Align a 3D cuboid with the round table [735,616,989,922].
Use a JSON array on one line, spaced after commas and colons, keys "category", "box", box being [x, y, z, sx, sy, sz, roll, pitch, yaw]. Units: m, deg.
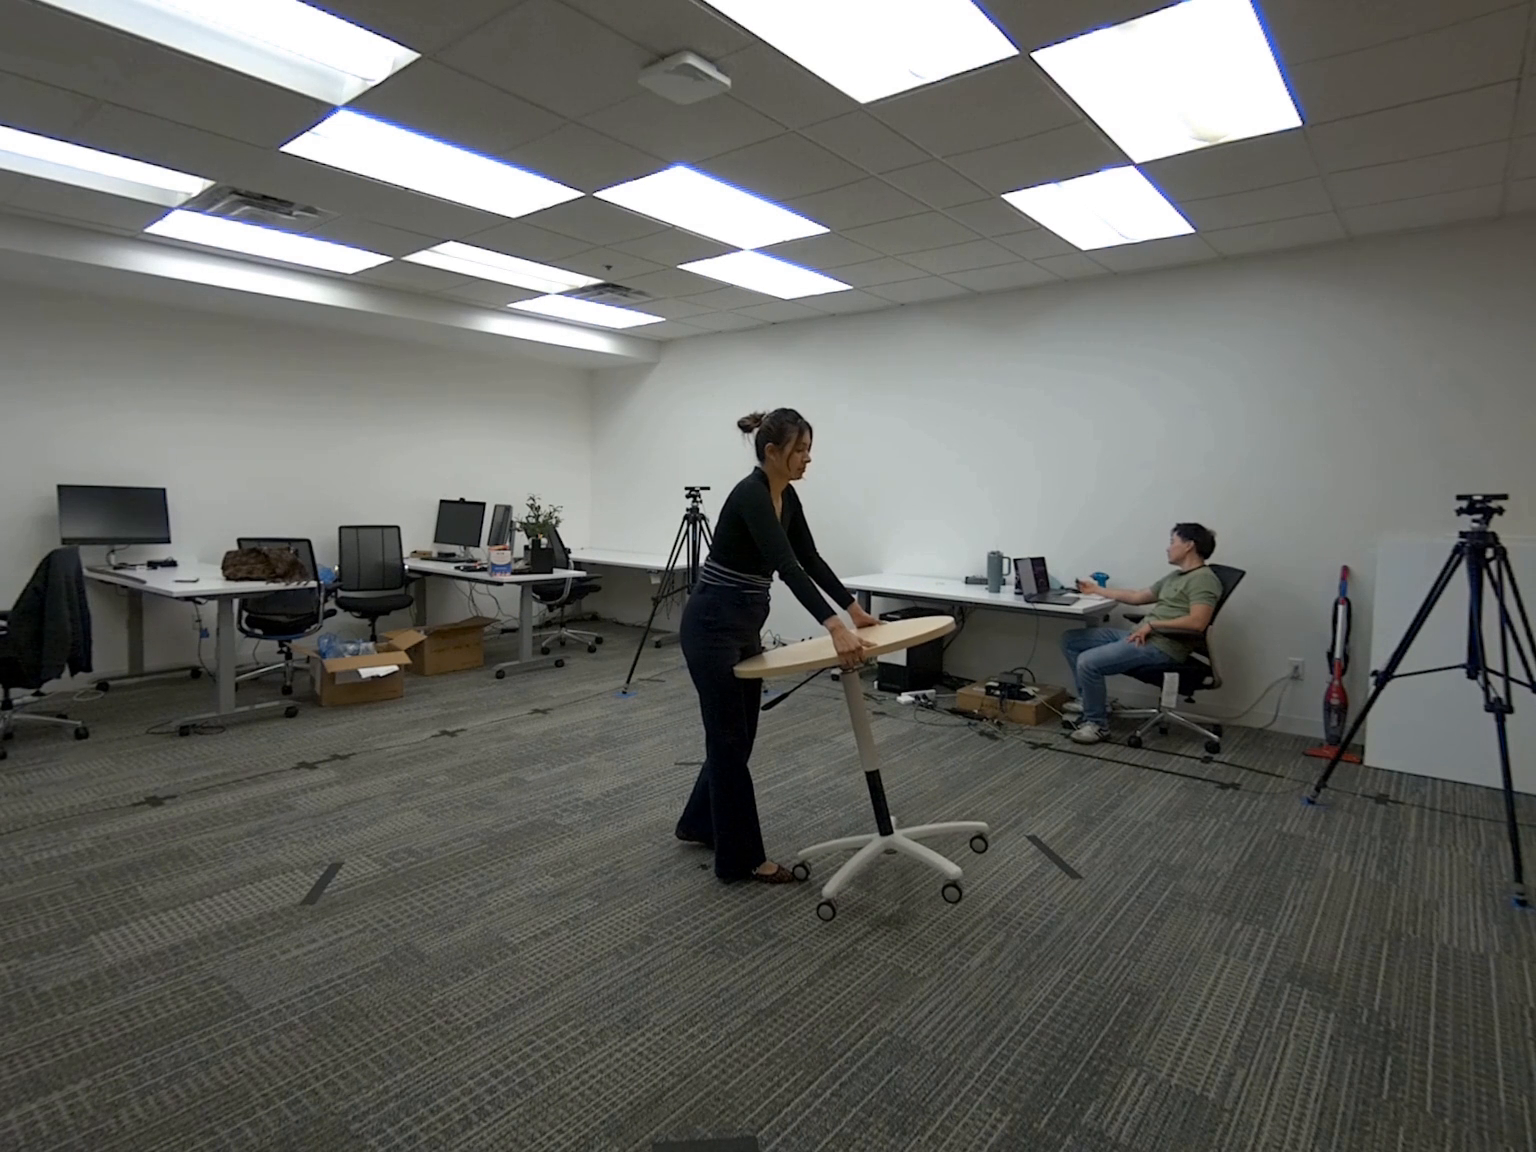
[{"category": "round table", "box": [0.341, 0.617, 2.893, 0.763, 0.796, 0.763, -13, -1, -2]}]
